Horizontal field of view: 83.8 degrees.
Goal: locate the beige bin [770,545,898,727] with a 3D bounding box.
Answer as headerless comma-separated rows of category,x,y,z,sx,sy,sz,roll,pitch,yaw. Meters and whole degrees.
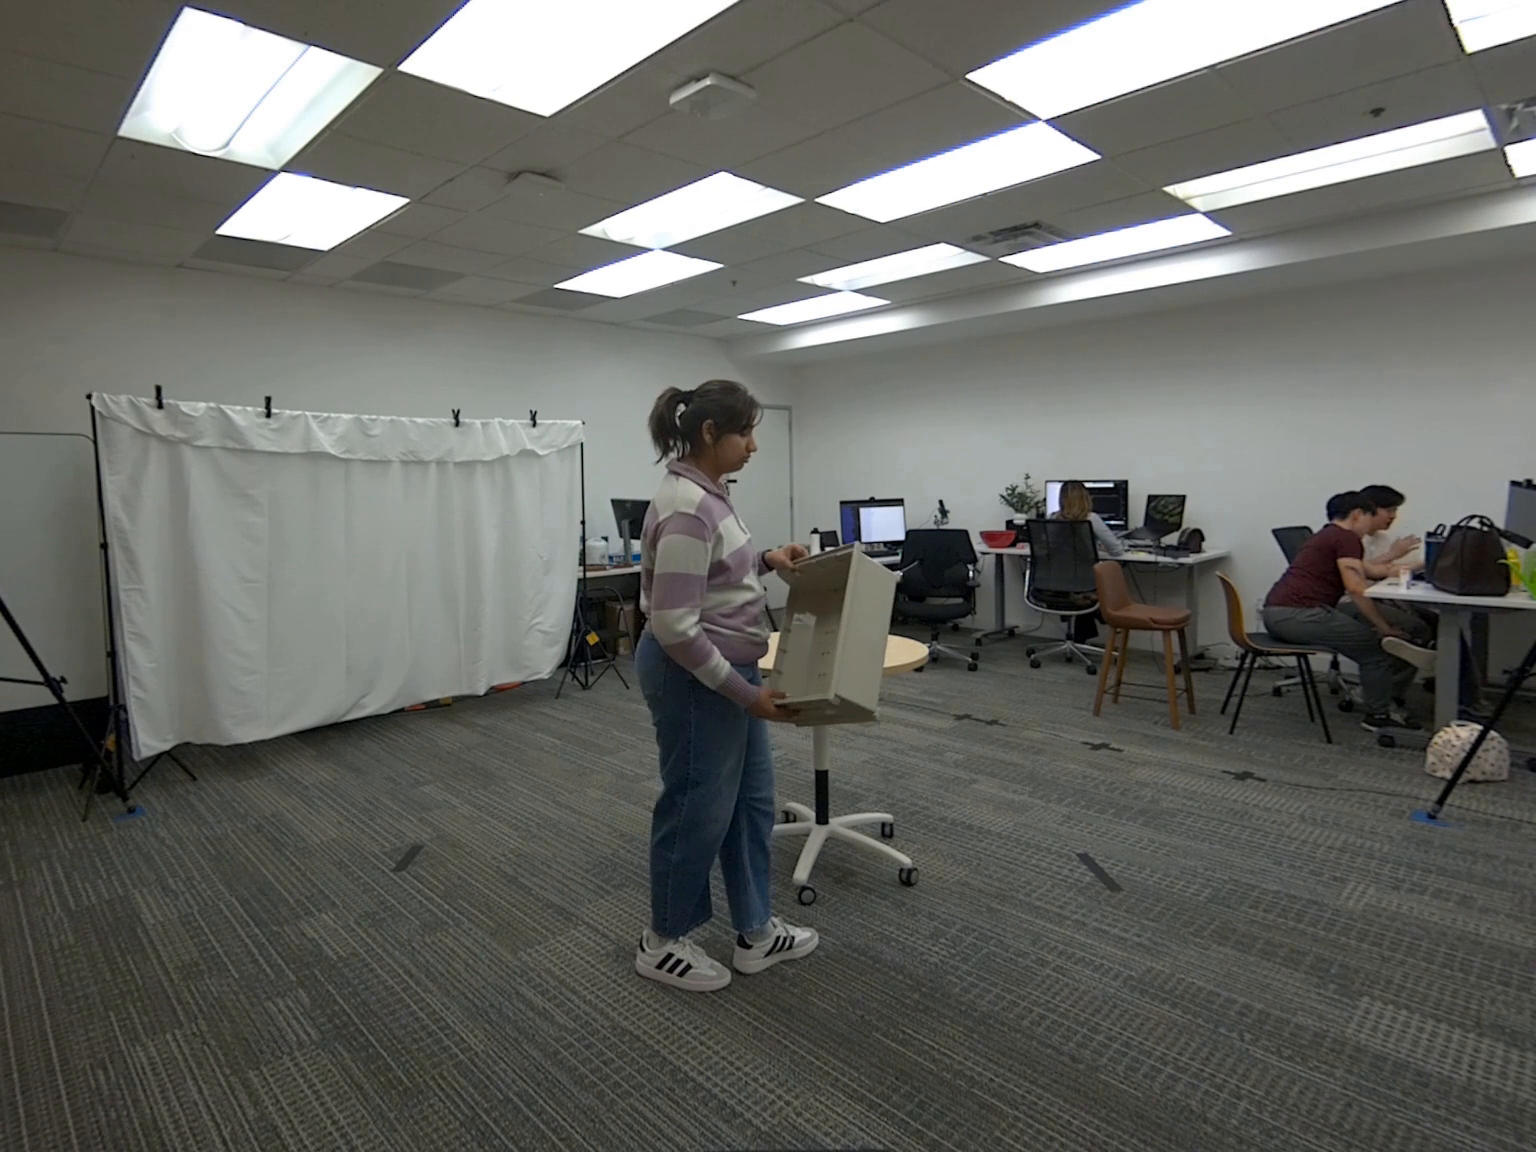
beige bin,0.143,0.165,2.293,0.183,0.429,0.384,29,-30,-31
